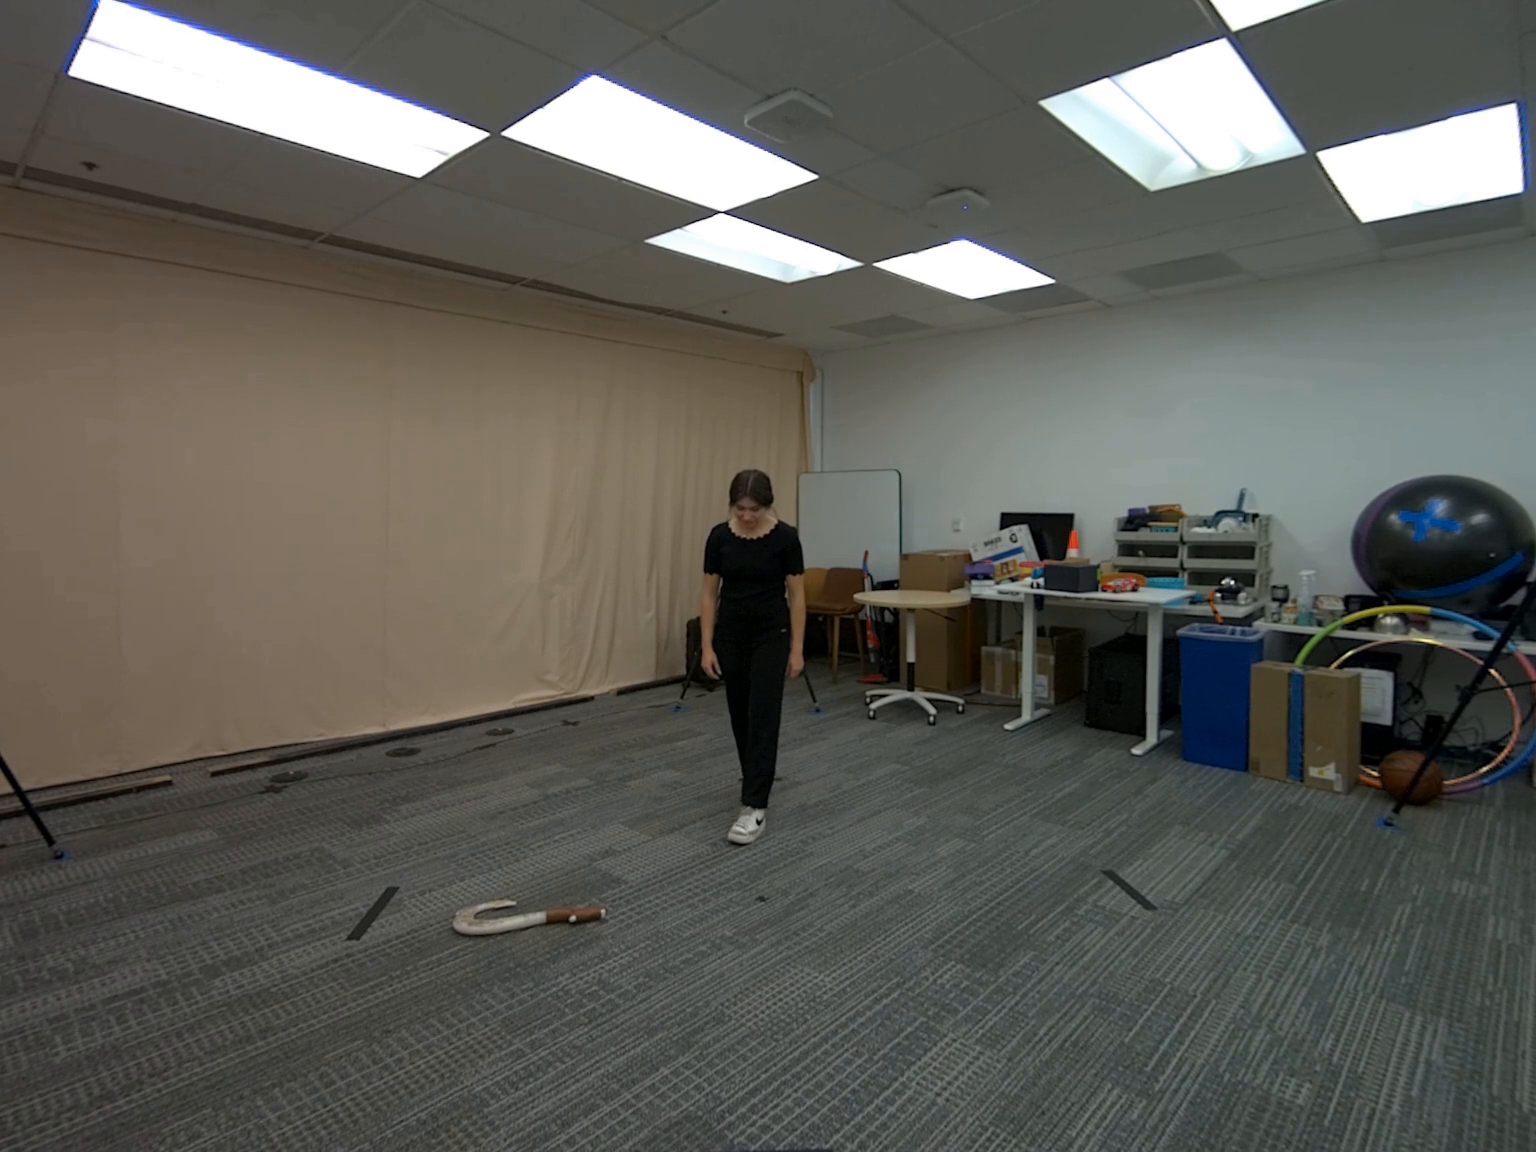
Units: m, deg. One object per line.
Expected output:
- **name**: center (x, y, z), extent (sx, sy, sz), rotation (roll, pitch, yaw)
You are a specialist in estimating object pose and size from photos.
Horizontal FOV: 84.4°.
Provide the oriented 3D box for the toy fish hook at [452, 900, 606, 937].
- **toy fish hook**: center (-0.801, 1.137, 2.852), extent (0.502, 0.048, 0.227), rotation (-1, 6, -9)
